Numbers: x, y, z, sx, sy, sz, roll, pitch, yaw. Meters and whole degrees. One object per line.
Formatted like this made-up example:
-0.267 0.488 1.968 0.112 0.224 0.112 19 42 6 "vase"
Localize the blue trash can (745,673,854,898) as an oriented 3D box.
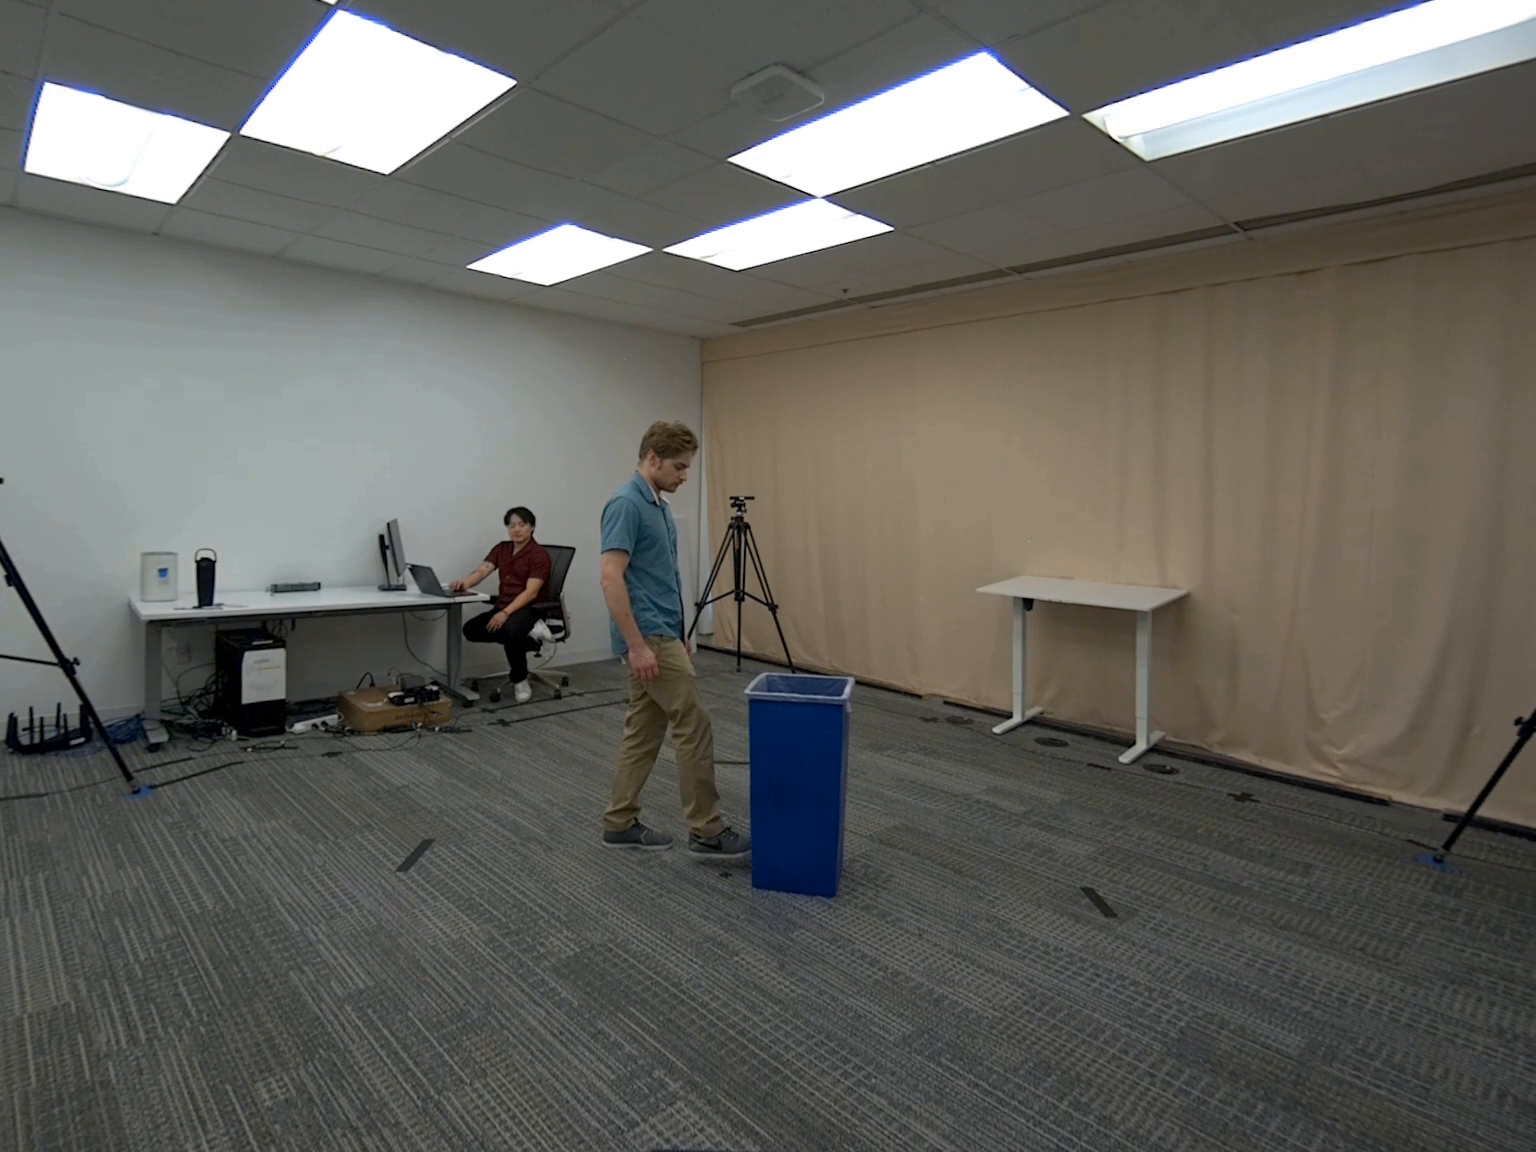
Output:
0.110 0.754 3.094 0.378 0.712 0.375 3 3 11 "blue trash can"
